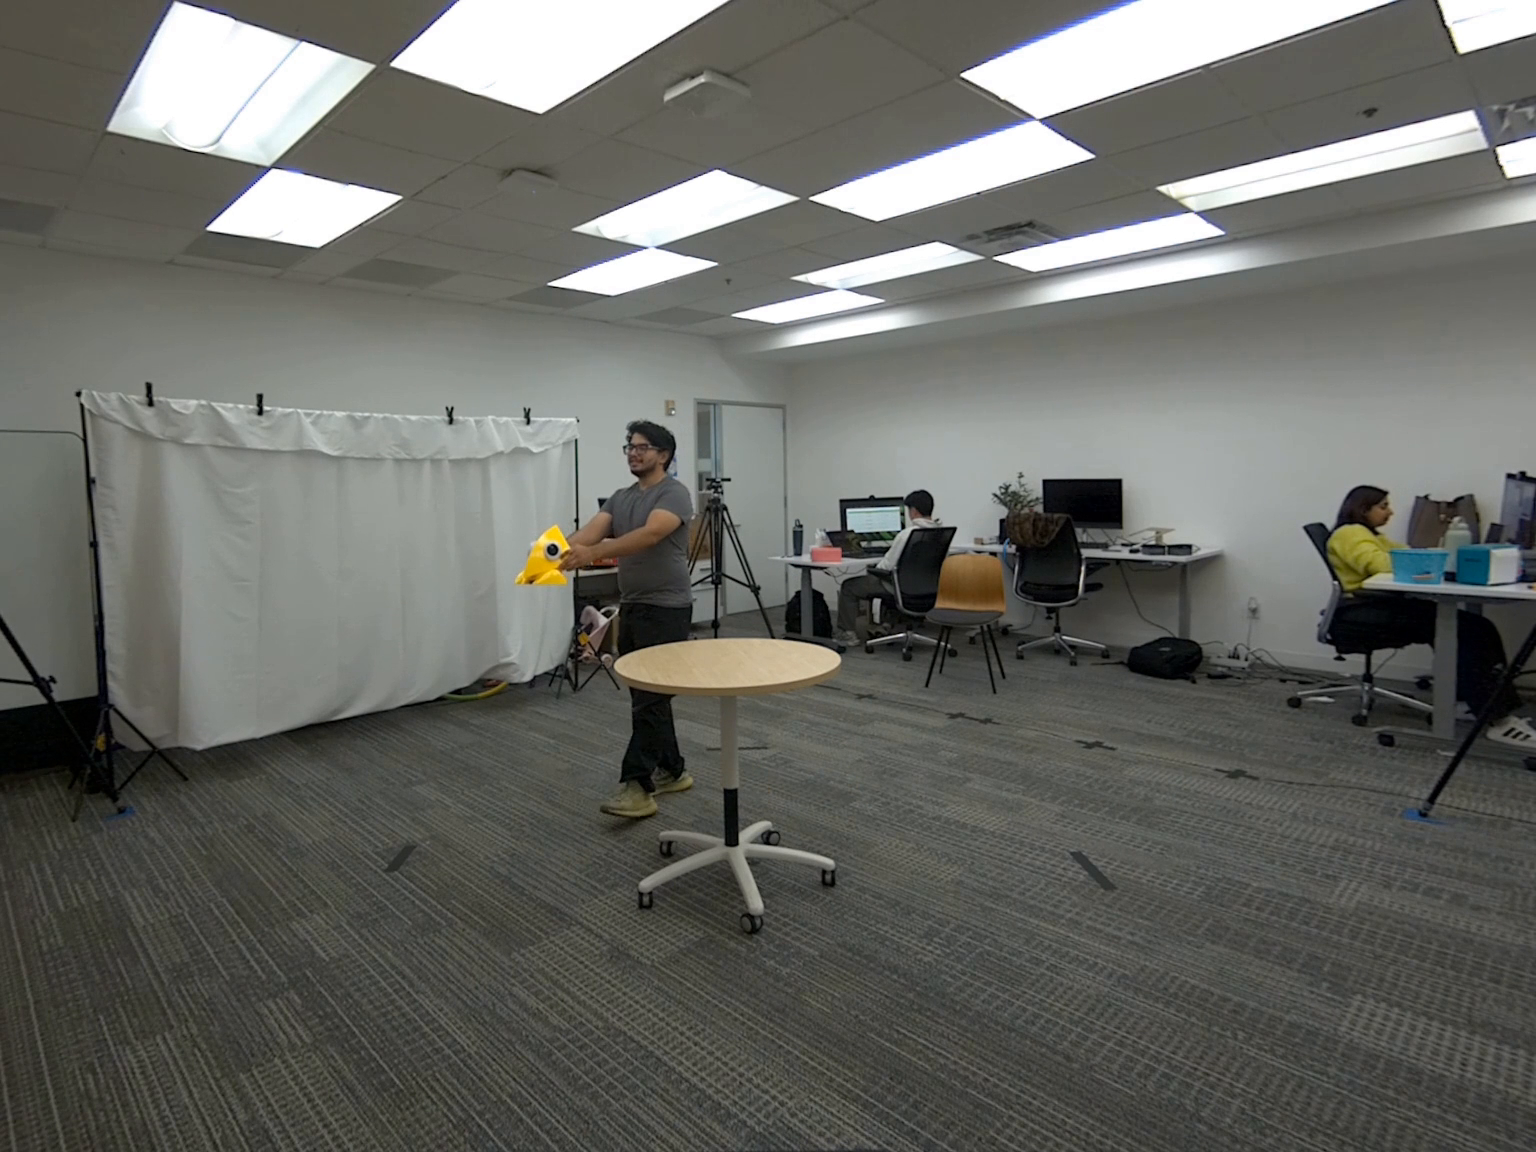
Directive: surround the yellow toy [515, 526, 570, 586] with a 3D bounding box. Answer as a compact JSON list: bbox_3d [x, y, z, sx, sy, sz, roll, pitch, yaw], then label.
[{"bbox_3d":[-0.871,-0.085,3.299,0.210,0.231,0.187,0,-1,35],"label":"yellow toy"}]
